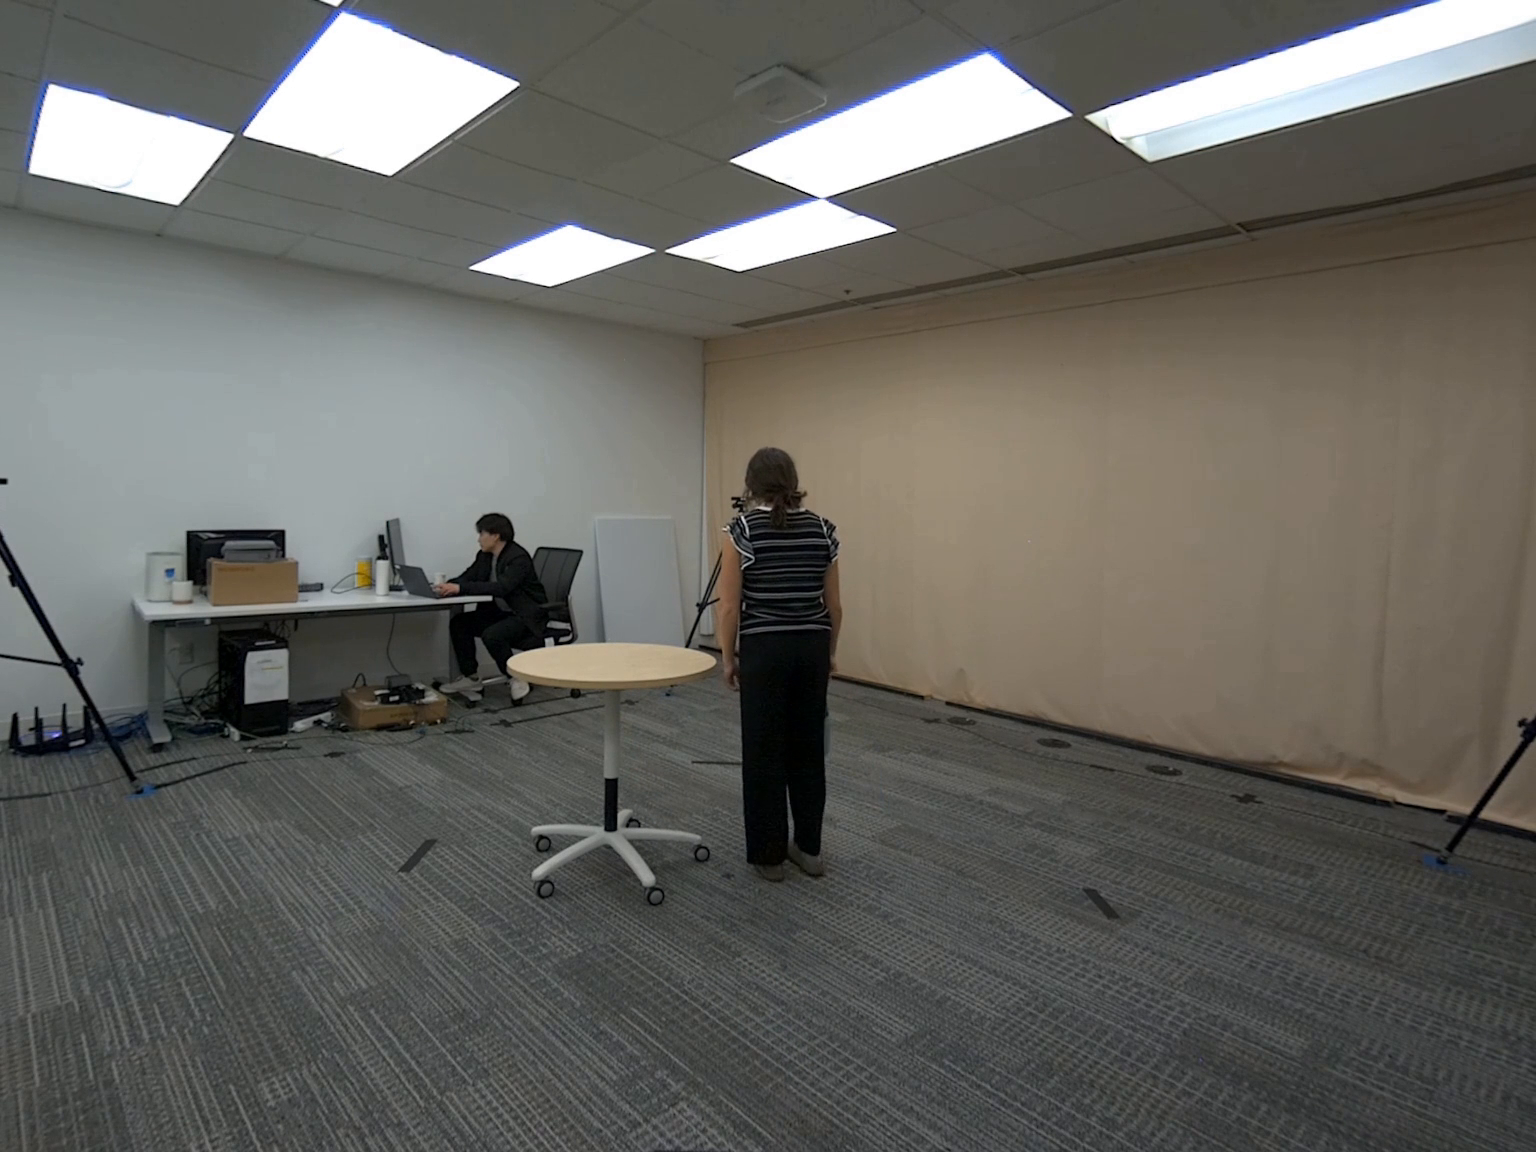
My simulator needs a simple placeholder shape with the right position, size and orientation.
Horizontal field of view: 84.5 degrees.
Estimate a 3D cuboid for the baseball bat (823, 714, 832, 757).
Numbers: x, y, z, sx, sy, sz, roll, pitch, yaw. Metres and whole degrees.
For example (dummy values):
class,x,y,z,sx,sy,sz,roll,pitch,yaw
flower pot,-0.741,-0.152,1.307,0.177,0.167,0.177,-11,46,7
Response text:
class,x,y,z,sx,sy,sz,roll,pitch,yaw
baseball bat,0.210,0.543,3.381,0.089,0.531,0.091,0,39,-1
